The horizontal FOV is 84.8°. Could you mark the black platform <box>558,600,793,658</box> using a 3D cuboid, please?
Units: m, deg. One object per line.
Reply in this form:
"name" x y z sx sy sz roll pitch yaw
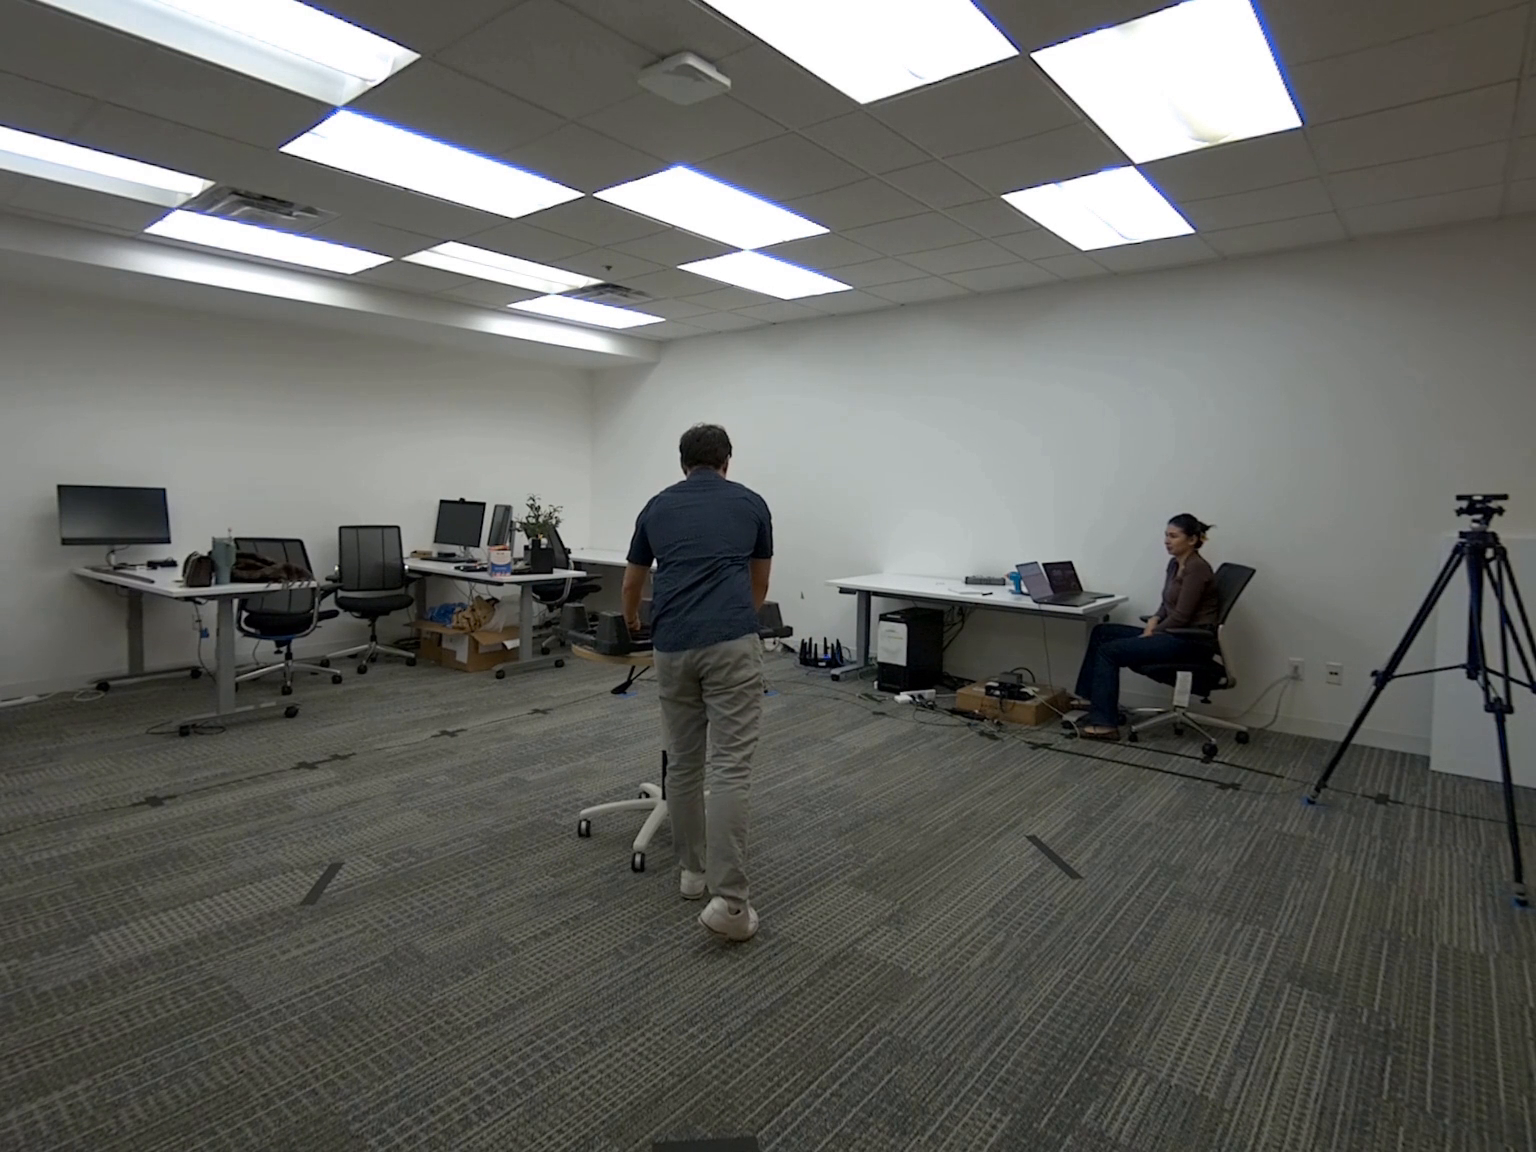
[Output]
"black platform" -0.401 0.173 3.432 0.783 0.143 0.624 -3 6 -33
